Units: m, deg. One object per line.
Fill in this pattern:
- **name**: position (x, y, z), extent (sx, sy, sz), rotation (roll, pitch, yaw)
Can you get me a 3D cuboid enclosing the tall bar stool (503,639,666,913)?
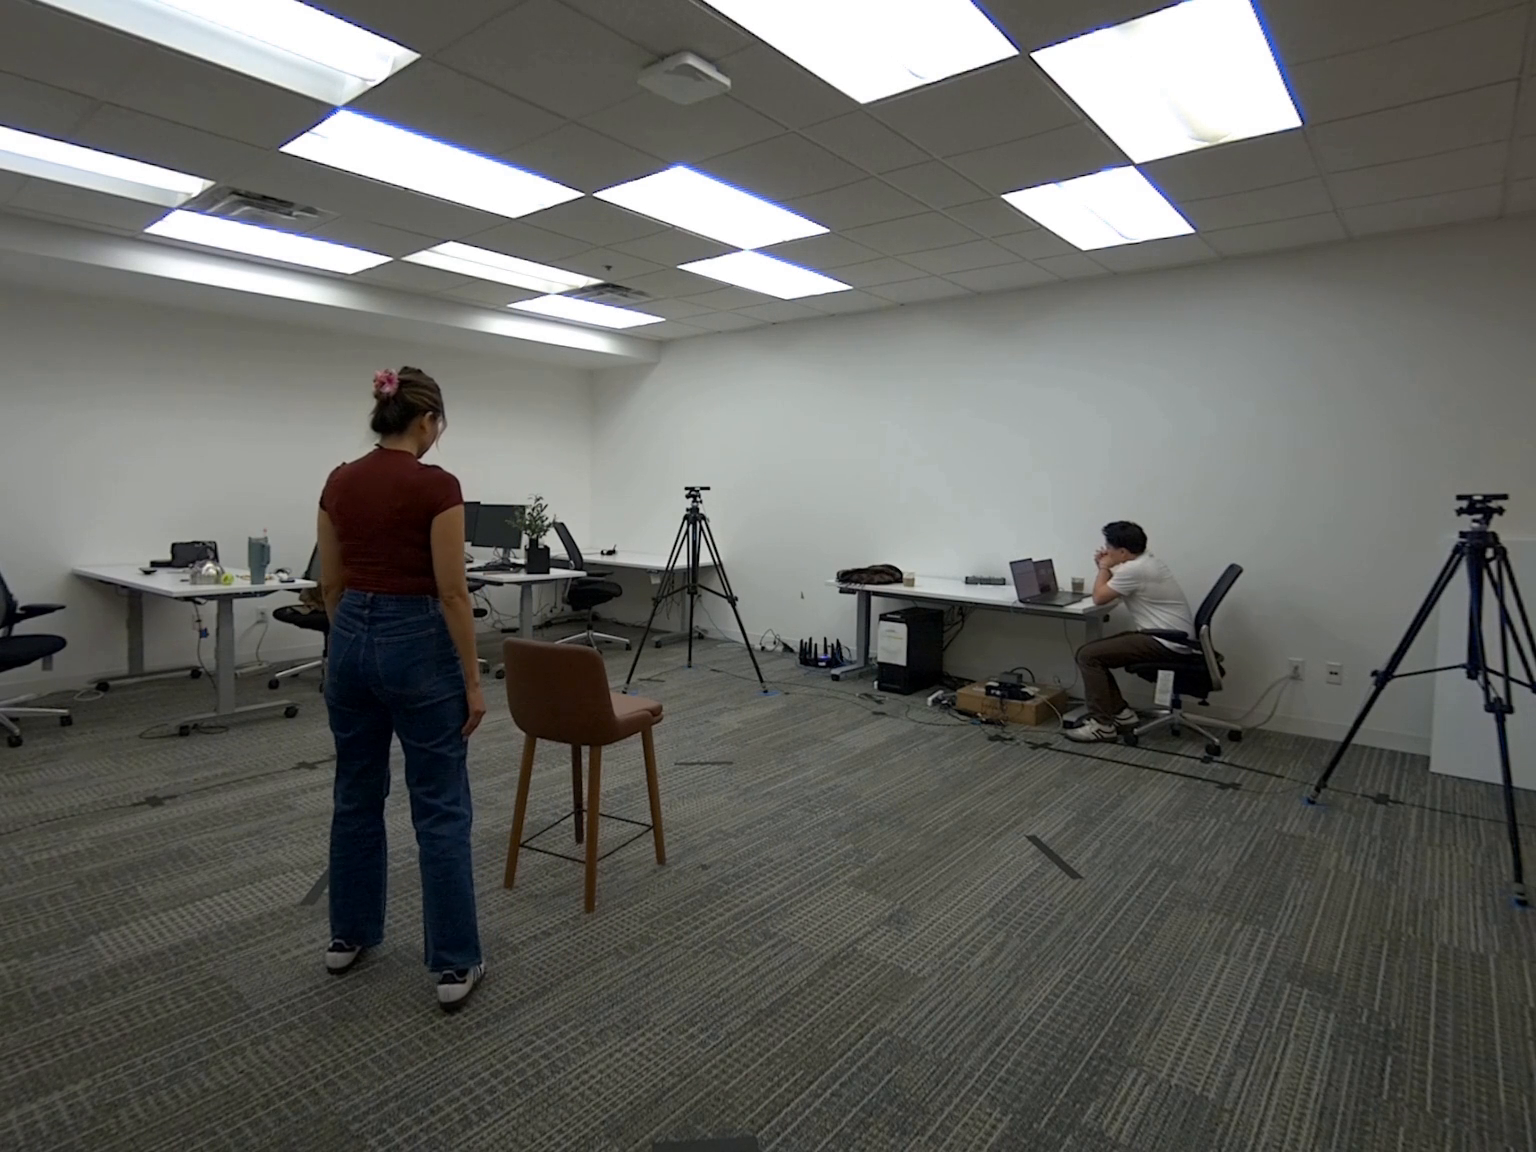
- **tall bar stool**: position (-0.662, 0.632, 3.019), extent (0.469, 0.886, 0.457), rotation (2, 5, 27)
